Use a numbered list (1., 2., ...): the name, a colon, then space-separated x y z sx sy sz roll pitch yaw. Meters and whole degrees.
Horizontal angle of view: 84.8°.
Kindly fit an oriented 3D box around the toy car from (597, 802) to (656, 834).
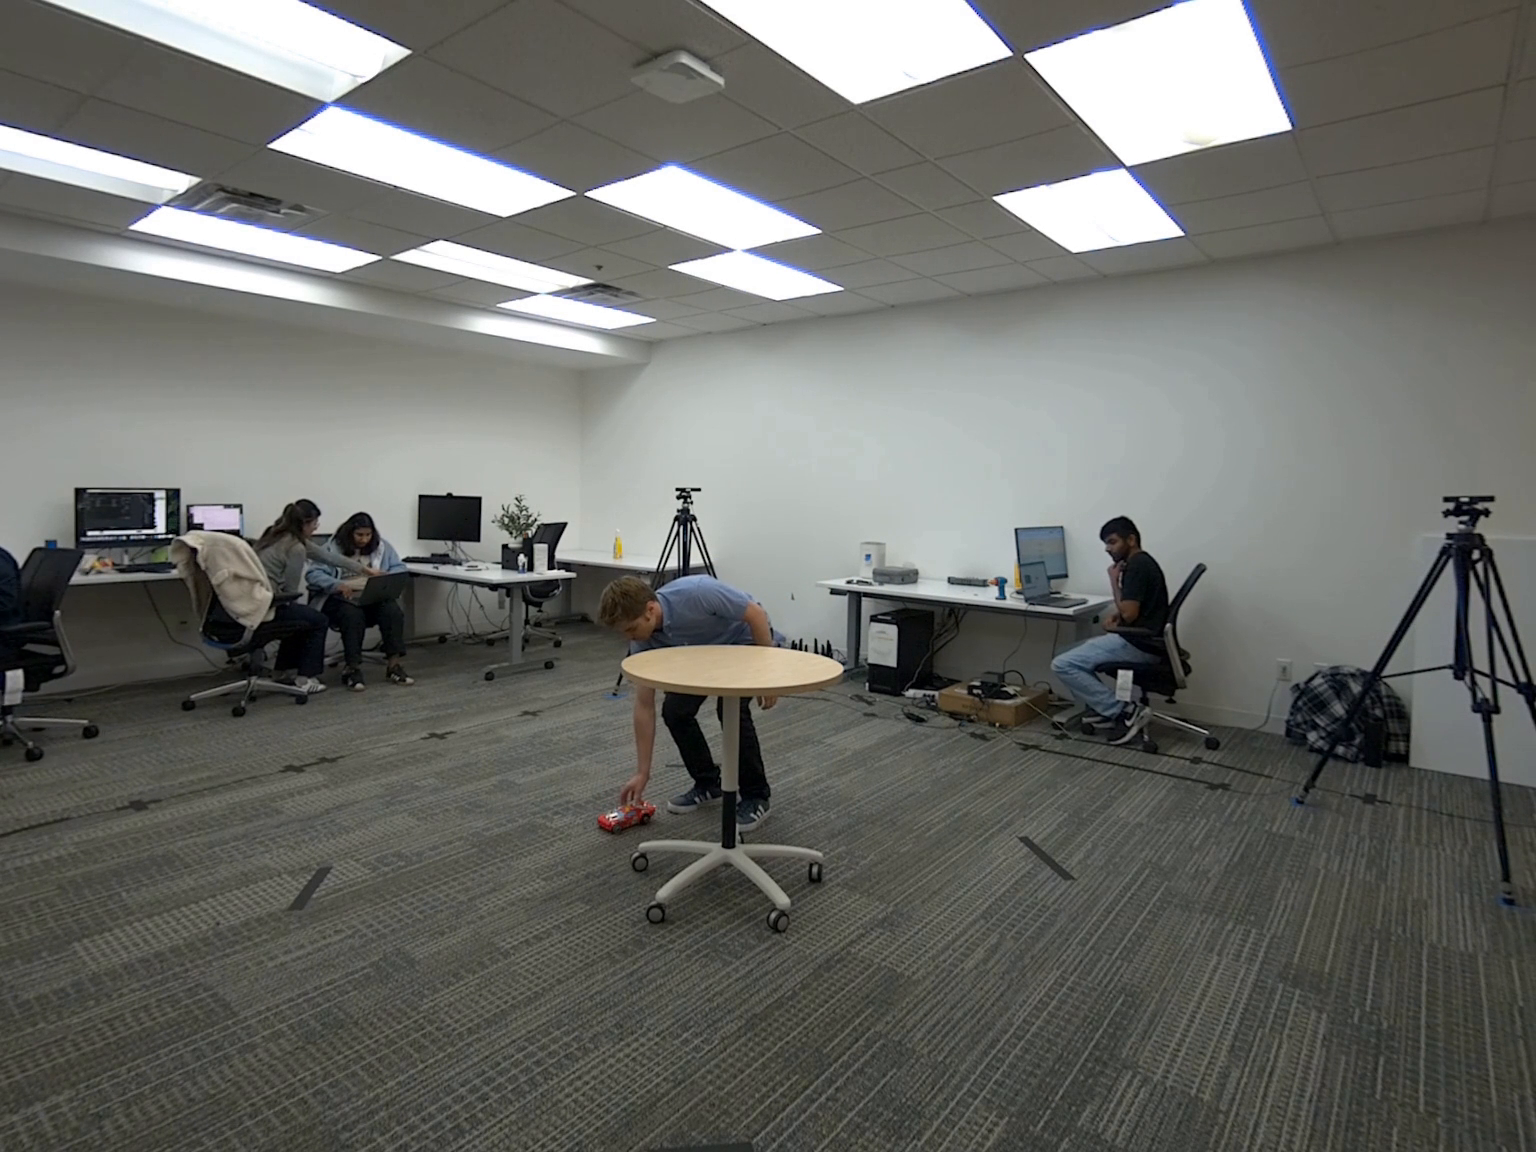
1. toy car: -0.586 0.990 3.515 0.249 0.082 0.135 -18 16 -41
